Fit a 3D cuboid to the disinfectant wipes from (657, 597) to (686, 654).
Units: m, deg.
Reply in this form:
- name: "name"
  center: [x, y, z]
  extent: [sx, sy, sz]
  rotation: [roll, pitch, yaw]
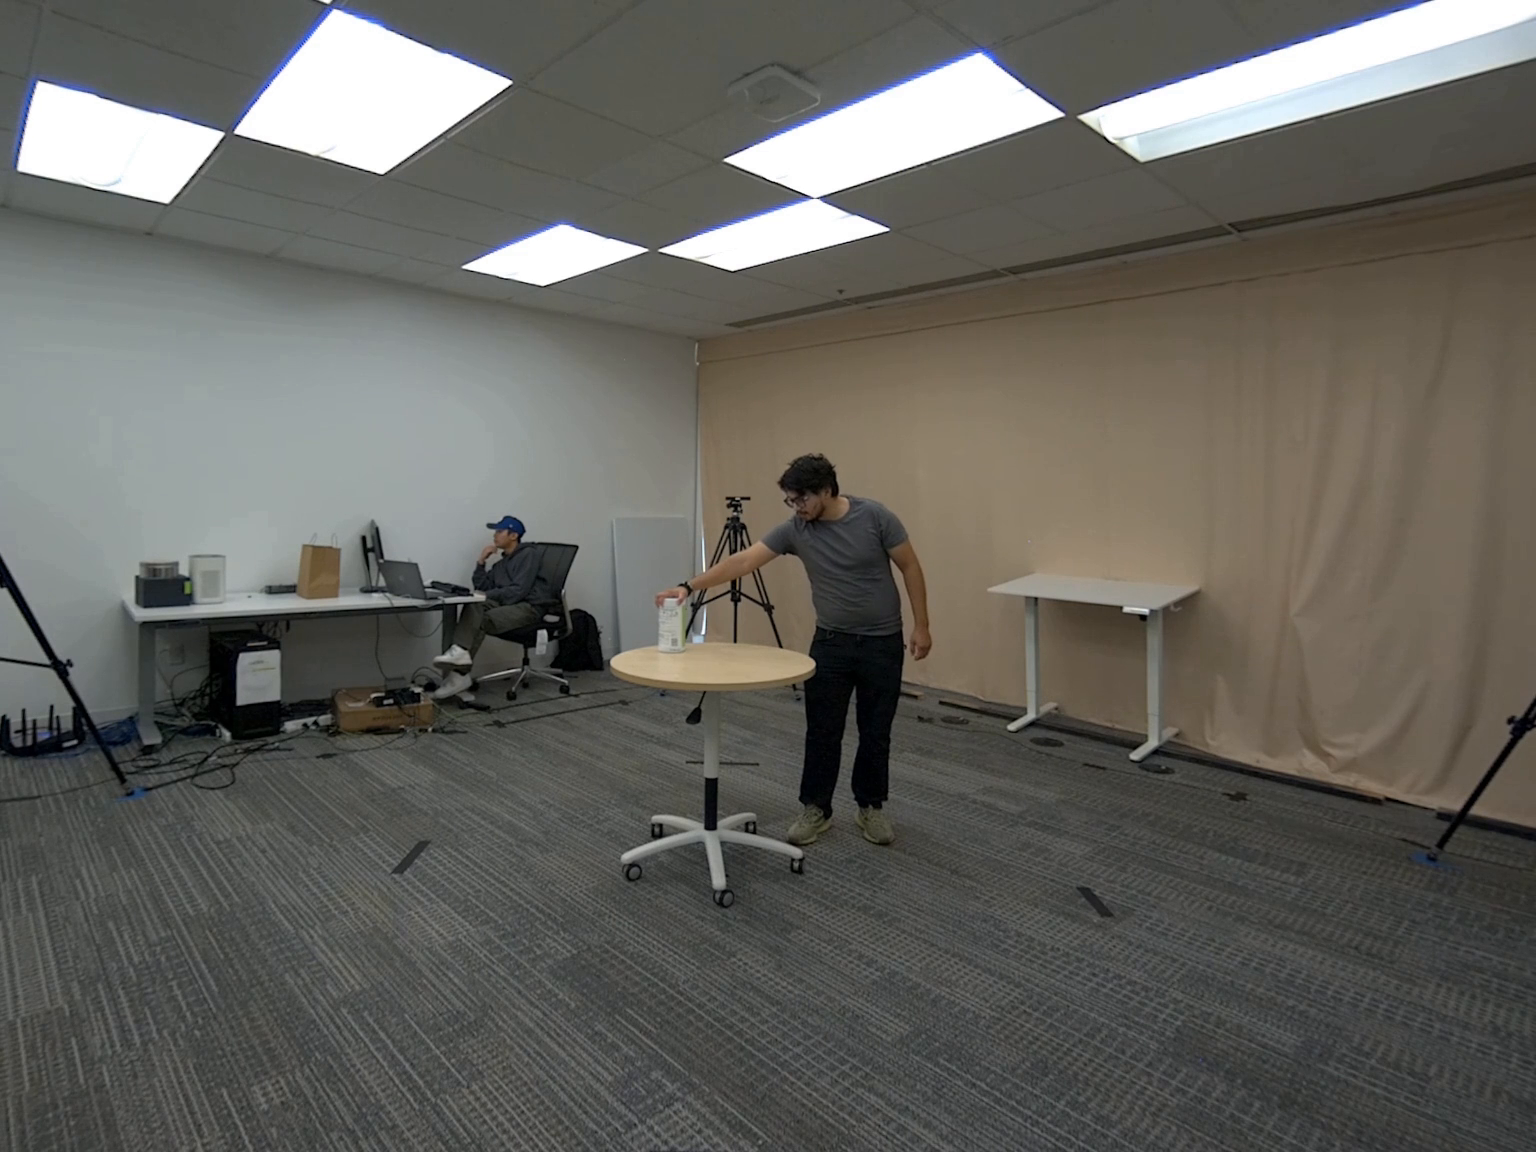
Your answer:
- name: "disinfectant wipes"
  center: [-0.384, 0.192, 3.339]
  extent: [0.118, 0.217, 0.118]
  rotation: [3, 2, -1]
